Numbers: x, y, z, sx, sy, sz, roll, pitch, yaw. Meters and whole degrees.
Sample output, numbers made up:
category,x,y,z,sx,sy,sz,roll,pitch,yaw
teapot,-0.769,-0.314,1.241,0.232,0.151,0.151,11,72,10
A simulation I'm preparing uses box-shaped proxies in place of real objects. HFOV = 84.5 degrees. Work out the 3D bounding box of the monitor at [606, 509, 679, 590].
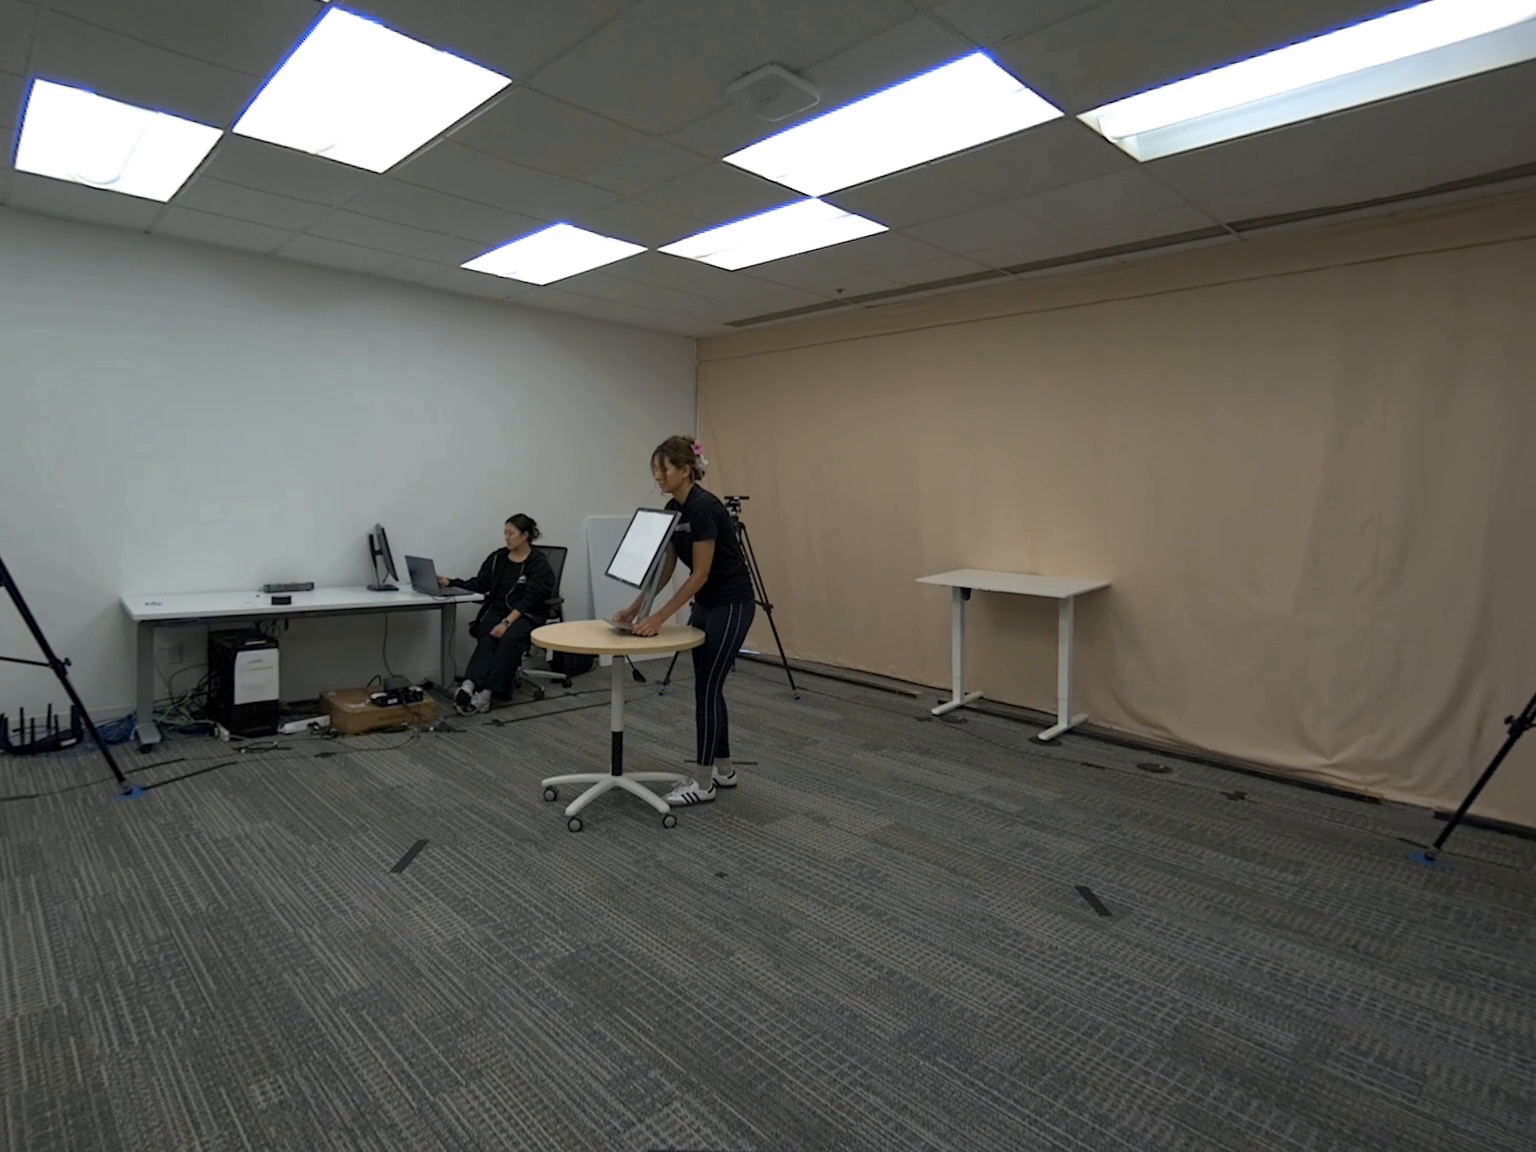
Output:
category,x,y,z,sx,sy,sz,roll,pitch,yaw
monitor,-0.567,-0.032,3.765,0.183,0.522,0.550,12,0,-26
